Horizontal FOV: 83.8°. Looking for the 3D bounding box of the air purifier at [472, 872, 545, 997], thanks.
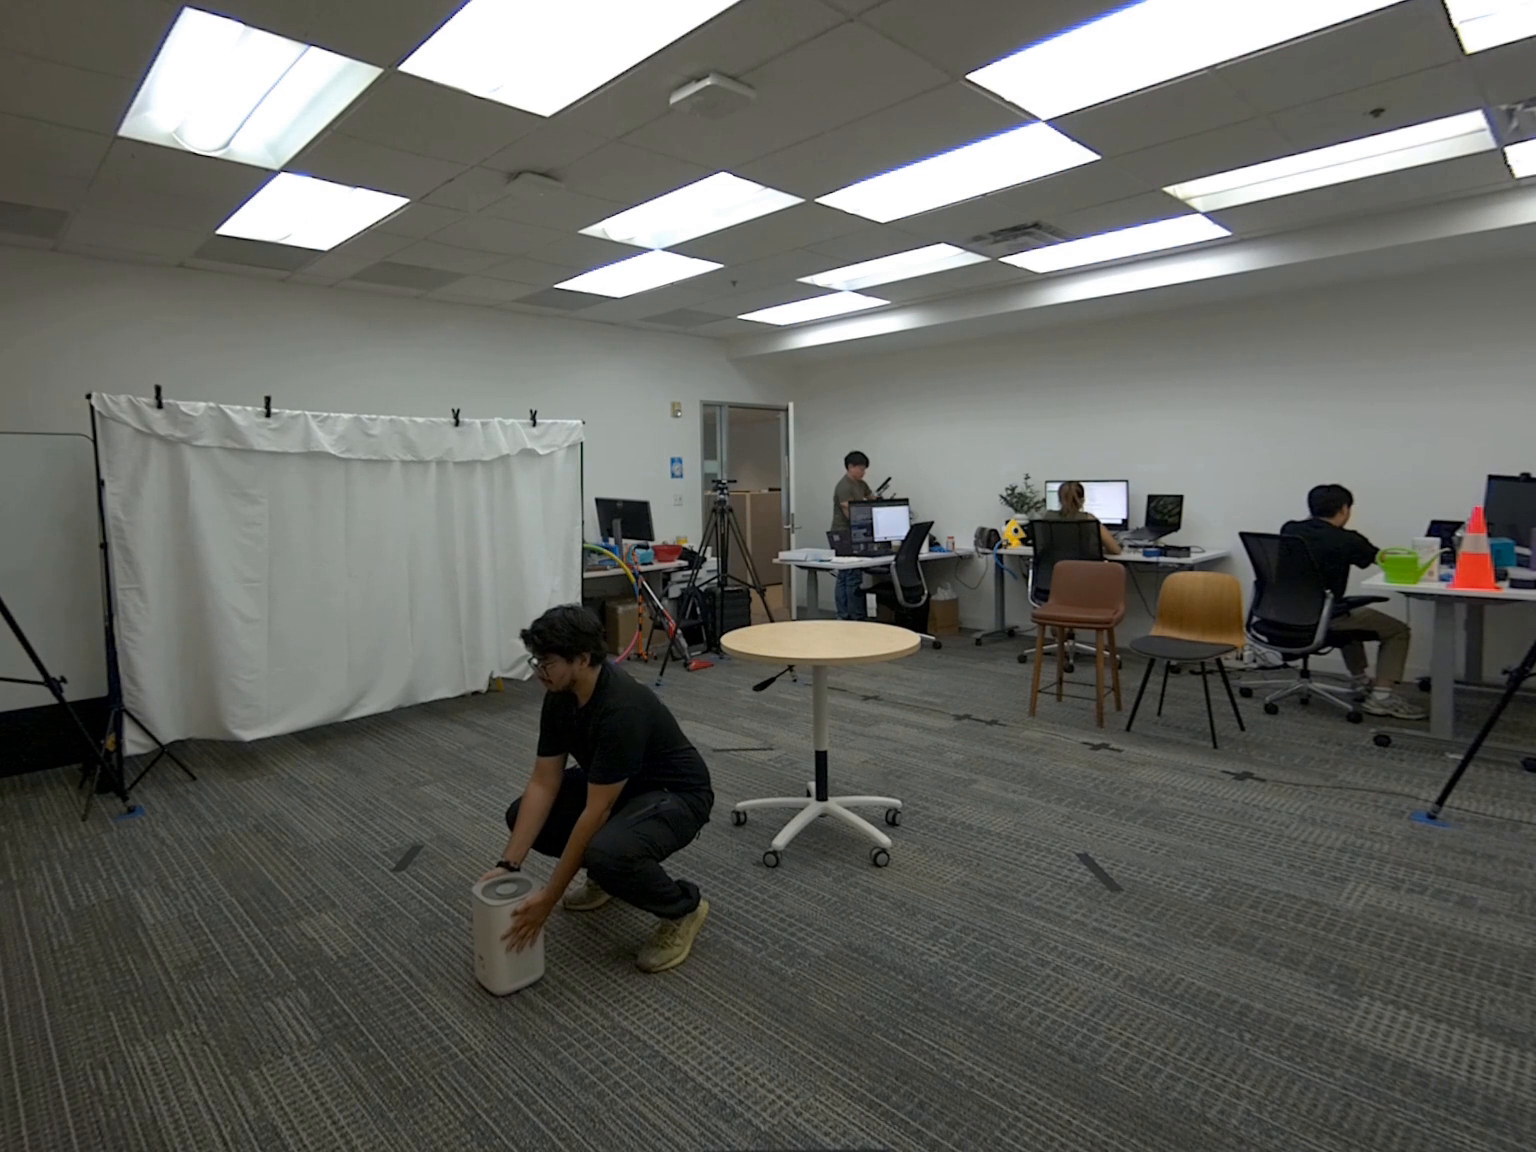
[{"bbox_3d":[-0.733,1.013,2.412,0.176,0.264,0.167,2,5,45],"label":"air purifier"}]
